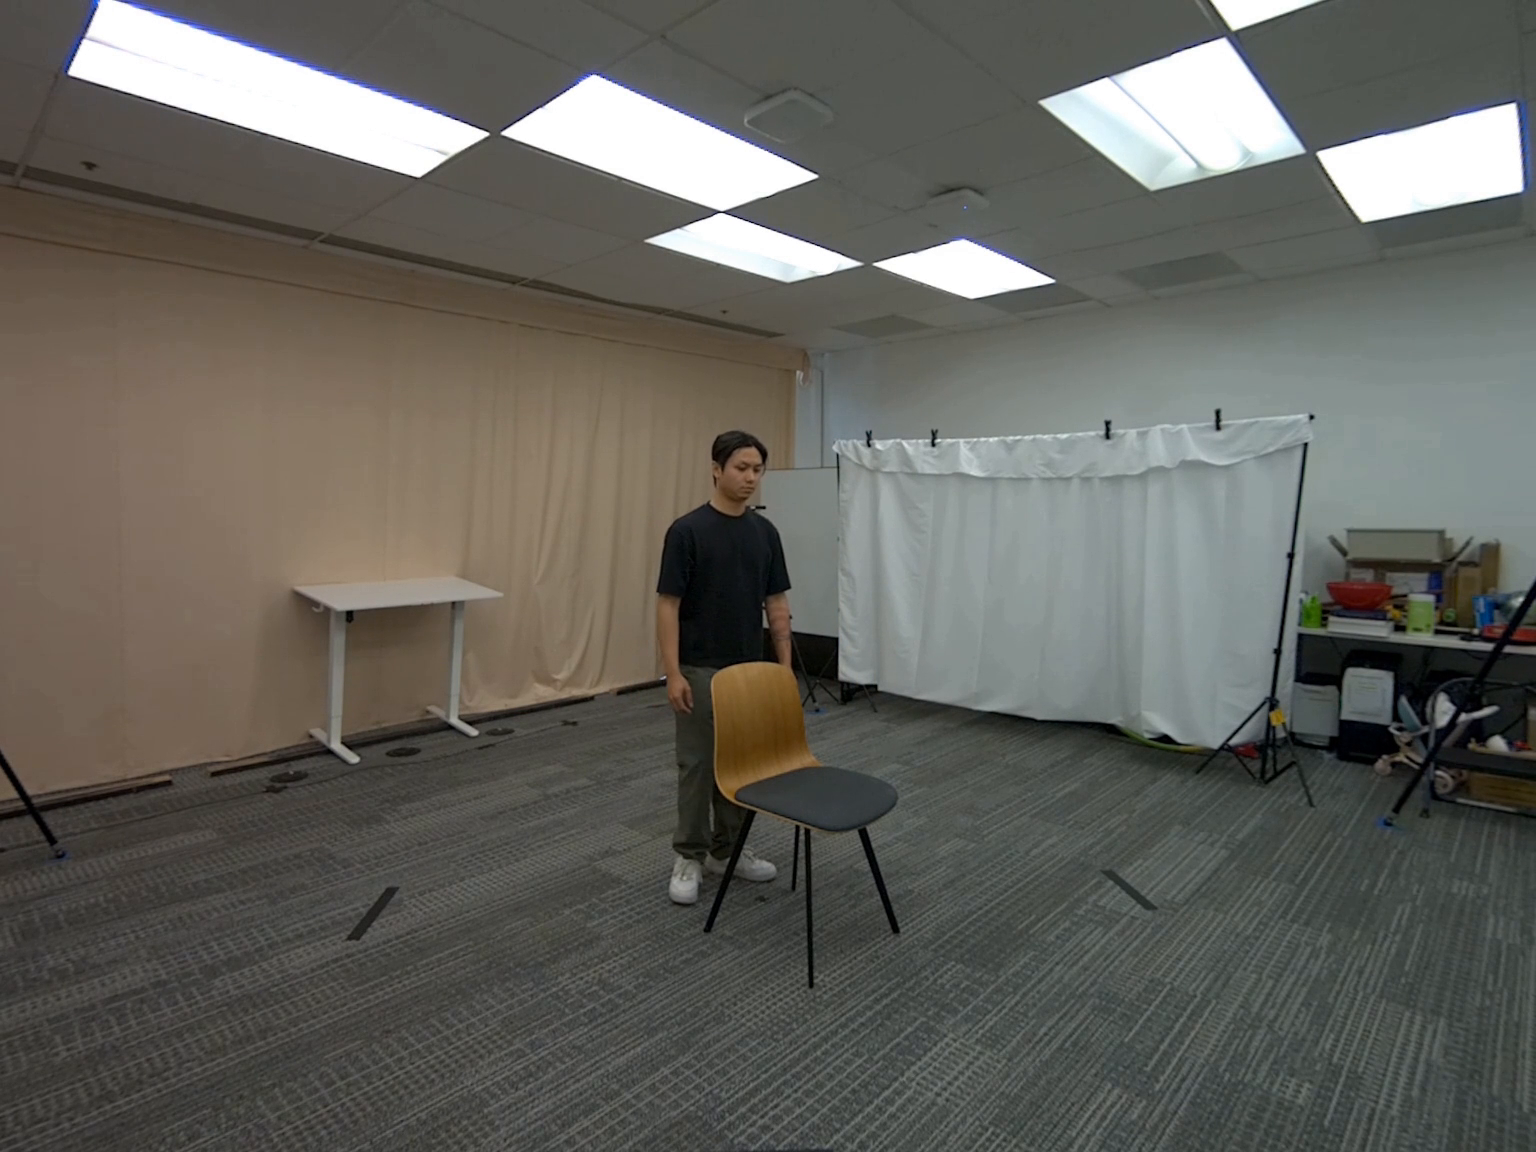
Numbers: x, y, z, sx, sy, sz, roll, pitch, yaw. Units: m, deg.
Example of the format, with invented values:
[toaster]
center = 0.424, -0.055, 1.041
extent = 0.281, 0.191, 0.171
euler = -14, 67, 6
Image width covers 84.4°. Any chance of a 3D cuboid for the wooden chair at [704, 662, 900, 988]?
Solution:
[wooden chair]
center = 0.124, 0.740, 2.708
extent = 0.539, 0.878, 0.463
euler = -3, 0, 44
